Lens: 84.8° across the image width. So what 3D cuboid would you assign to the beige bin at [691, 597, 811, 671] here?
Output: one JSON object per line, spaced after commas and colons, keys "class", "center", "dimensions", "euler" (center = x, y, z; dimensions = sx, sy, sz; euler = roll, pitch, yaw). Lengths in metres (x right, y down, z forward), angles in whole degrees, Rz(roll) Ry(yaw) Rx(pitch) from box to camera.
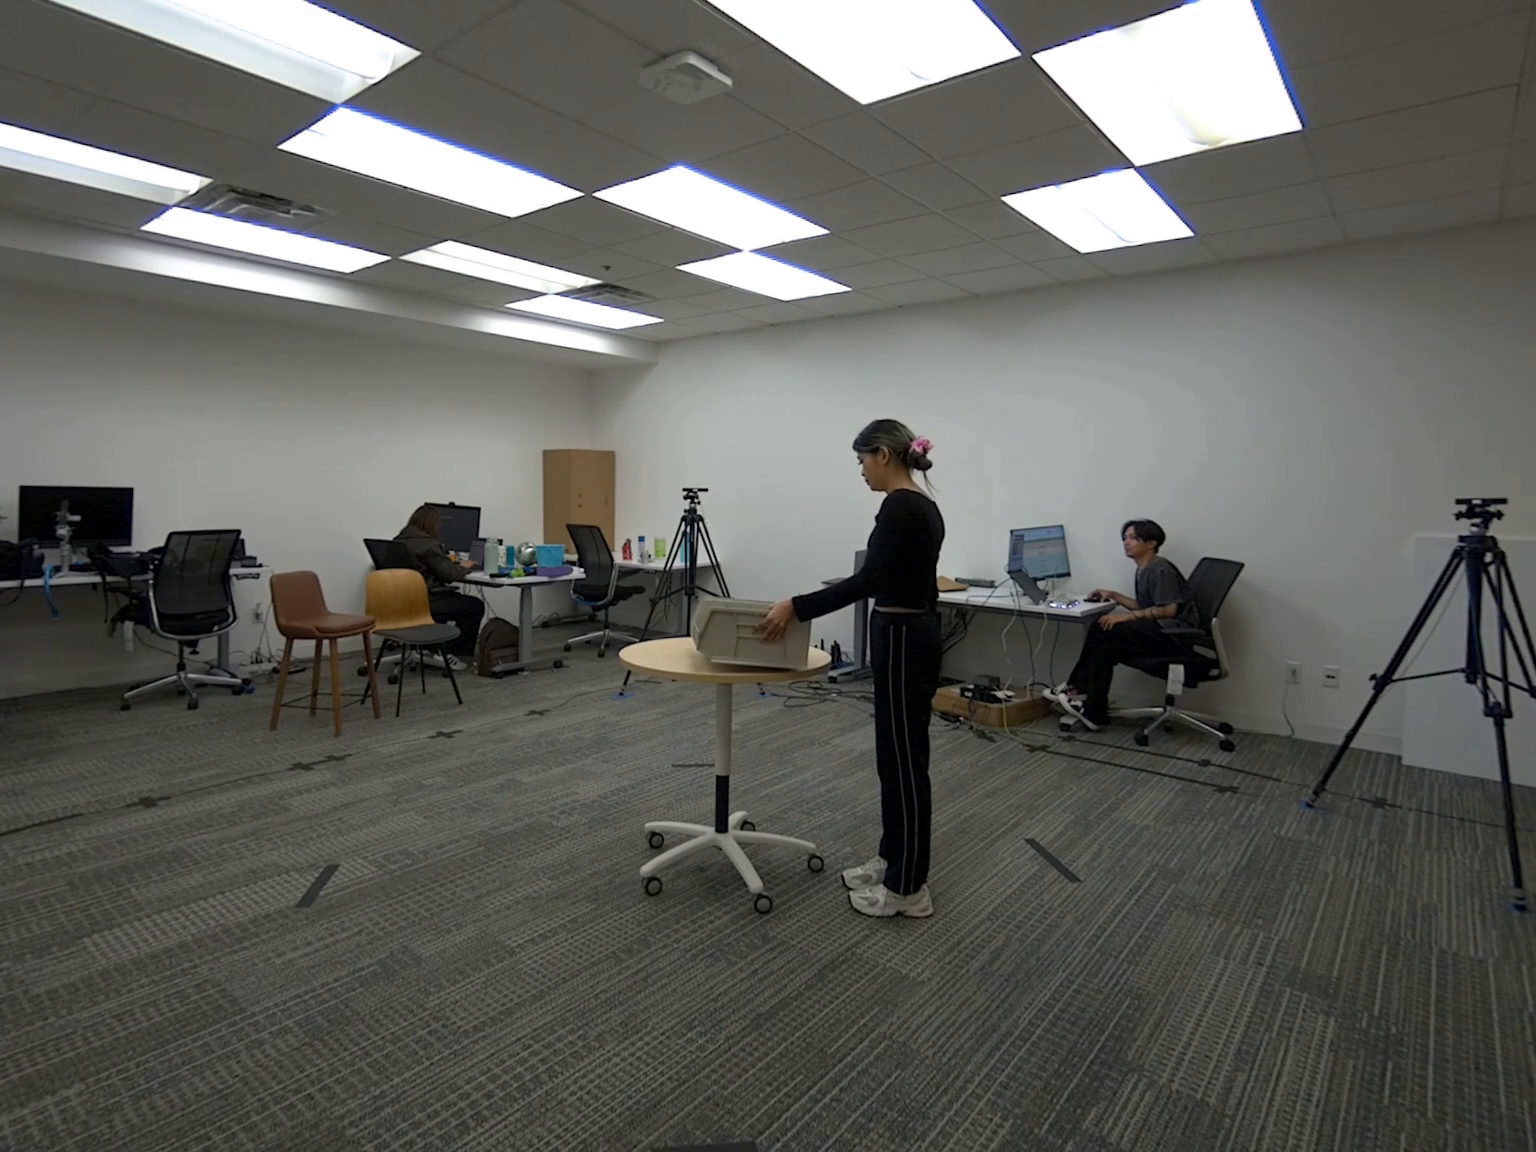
{"class": "beige bin", "center": [-0.083, 0.186, 2.932], "dimensions": [0.375, 0.189, 0.426], "euler": [5, 3, -7]}
